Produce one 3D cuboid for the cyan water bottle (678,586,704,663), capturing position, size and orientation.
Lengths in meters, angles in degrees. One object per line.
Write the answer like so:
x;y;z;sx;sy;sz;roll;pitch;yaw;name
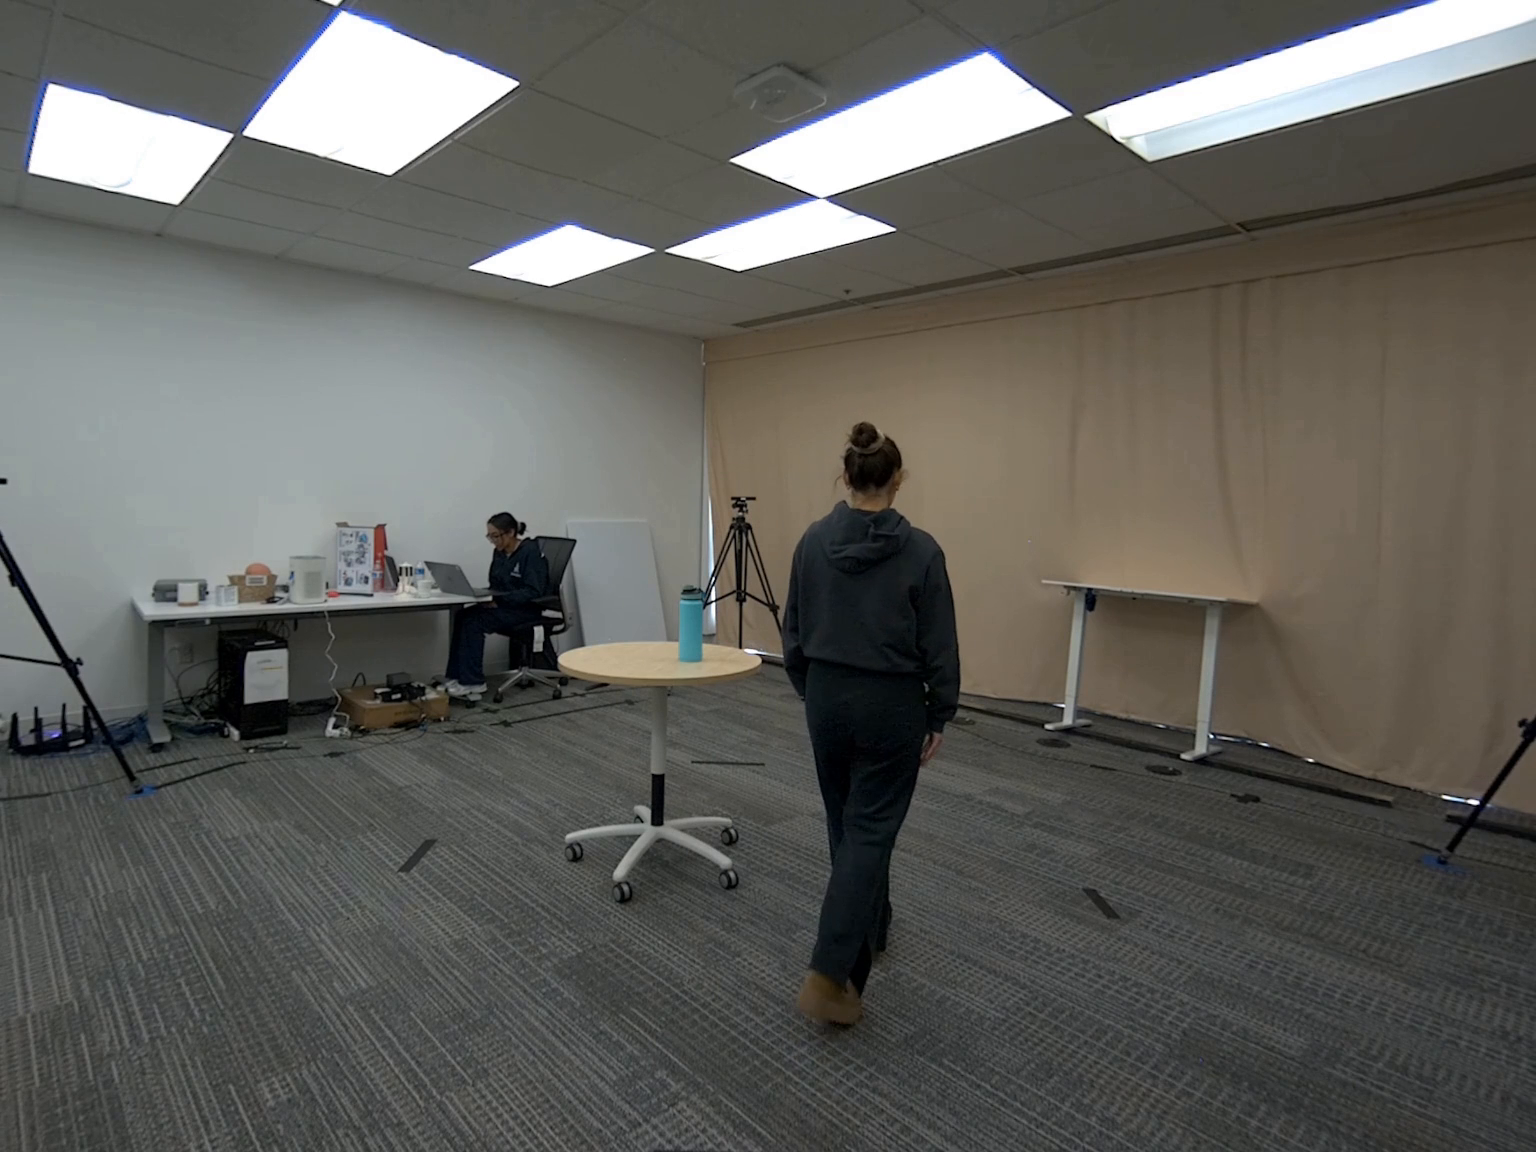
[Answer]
-0.294;0.178;3.154;0.092;0.283;0.092;3;3;-2;cyan water bottle
